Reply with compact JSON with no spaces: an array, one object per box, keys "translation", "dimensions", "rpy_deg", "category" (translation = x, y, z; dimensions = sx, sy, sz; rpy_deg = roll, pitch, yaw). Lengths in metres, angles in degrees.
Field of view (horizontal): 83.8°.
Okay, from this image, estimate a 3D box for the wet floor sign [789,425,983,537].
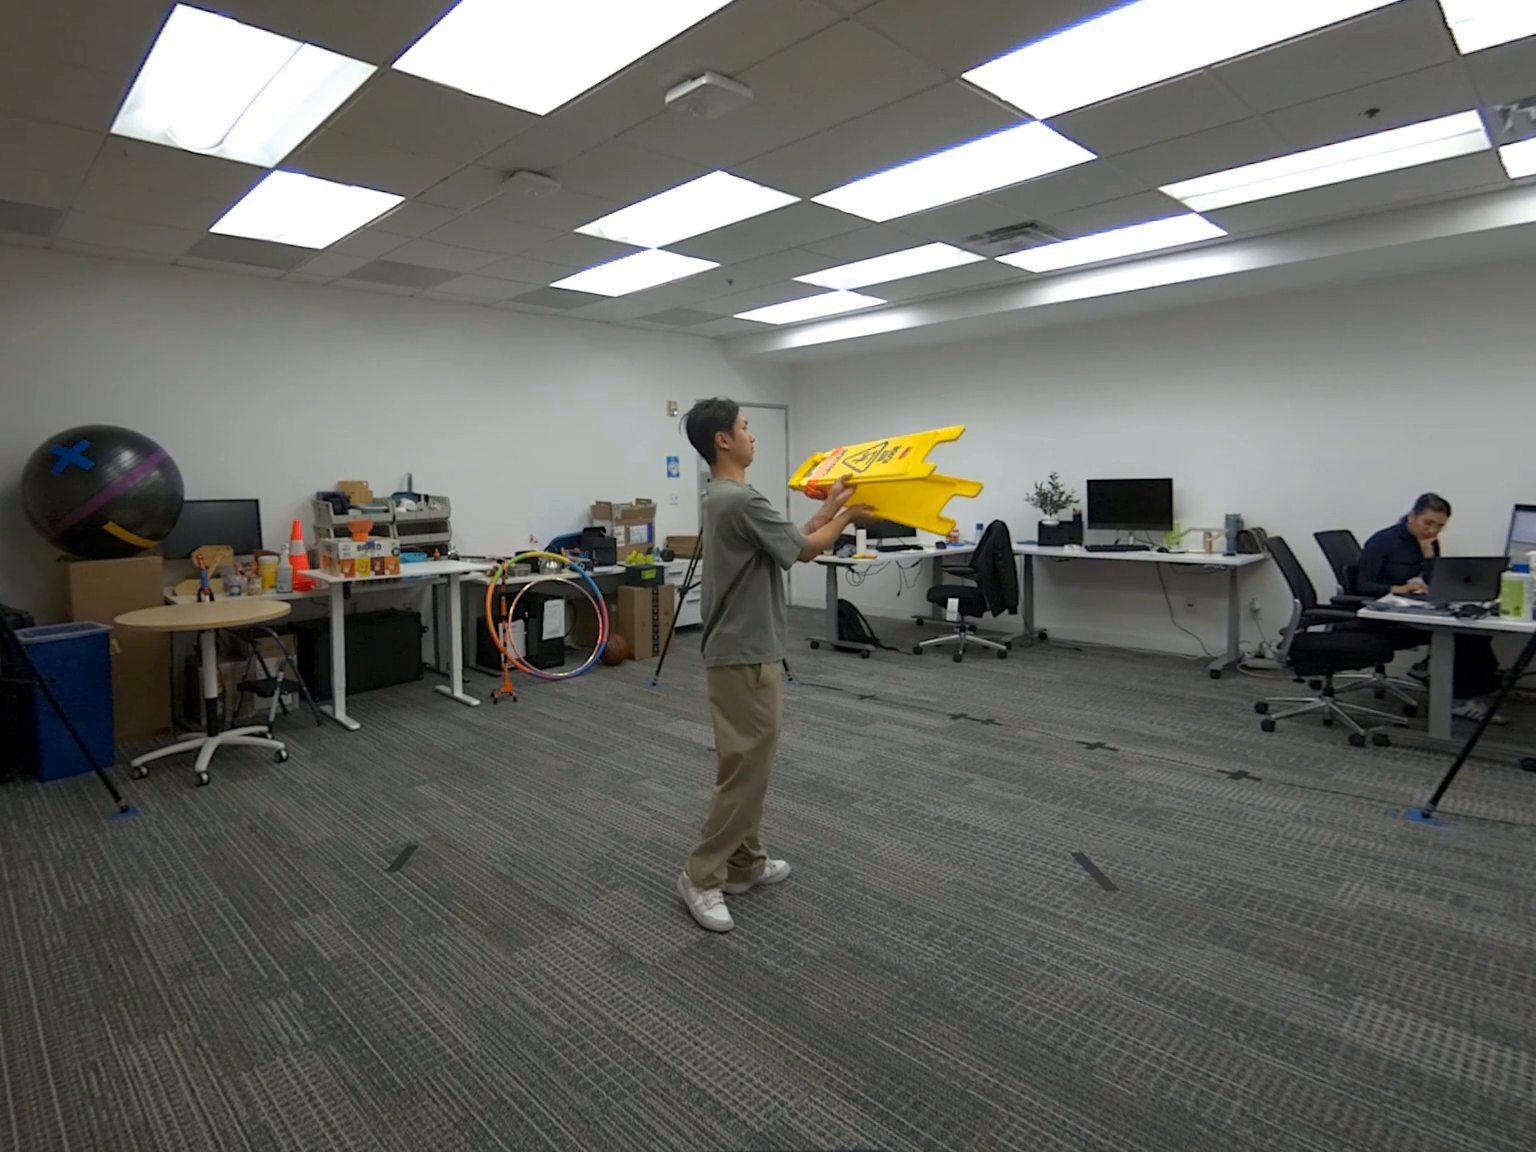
[{"translation":[0.364,-0.348,2.966],"dimensions":[0.668,0.280,0.282],"rpy_deg":[11,49,42],"category":"wet floor sign"}]
